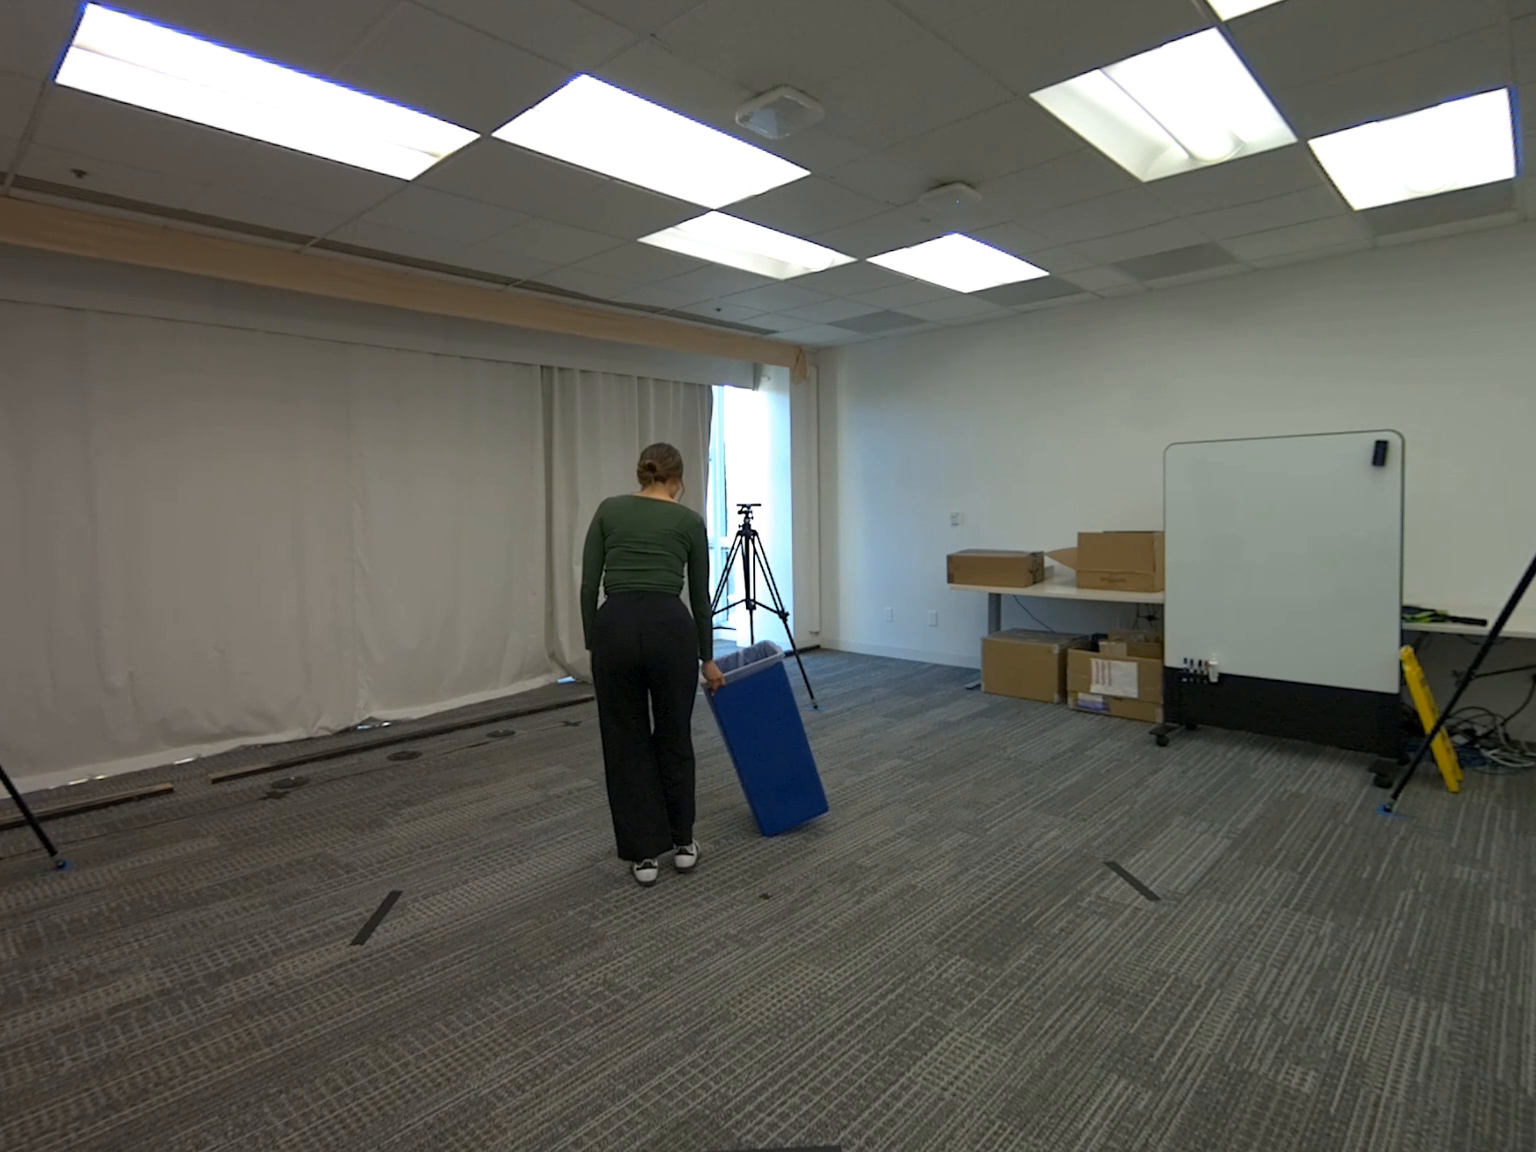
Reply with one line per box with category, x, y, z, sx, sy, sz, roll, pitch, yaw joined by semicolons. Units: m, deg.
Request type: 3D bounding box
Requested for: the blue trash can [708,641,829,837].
blue trash can;-0.010;0.691;3.644;0.371;0.710;0.382;-20;5;-9
